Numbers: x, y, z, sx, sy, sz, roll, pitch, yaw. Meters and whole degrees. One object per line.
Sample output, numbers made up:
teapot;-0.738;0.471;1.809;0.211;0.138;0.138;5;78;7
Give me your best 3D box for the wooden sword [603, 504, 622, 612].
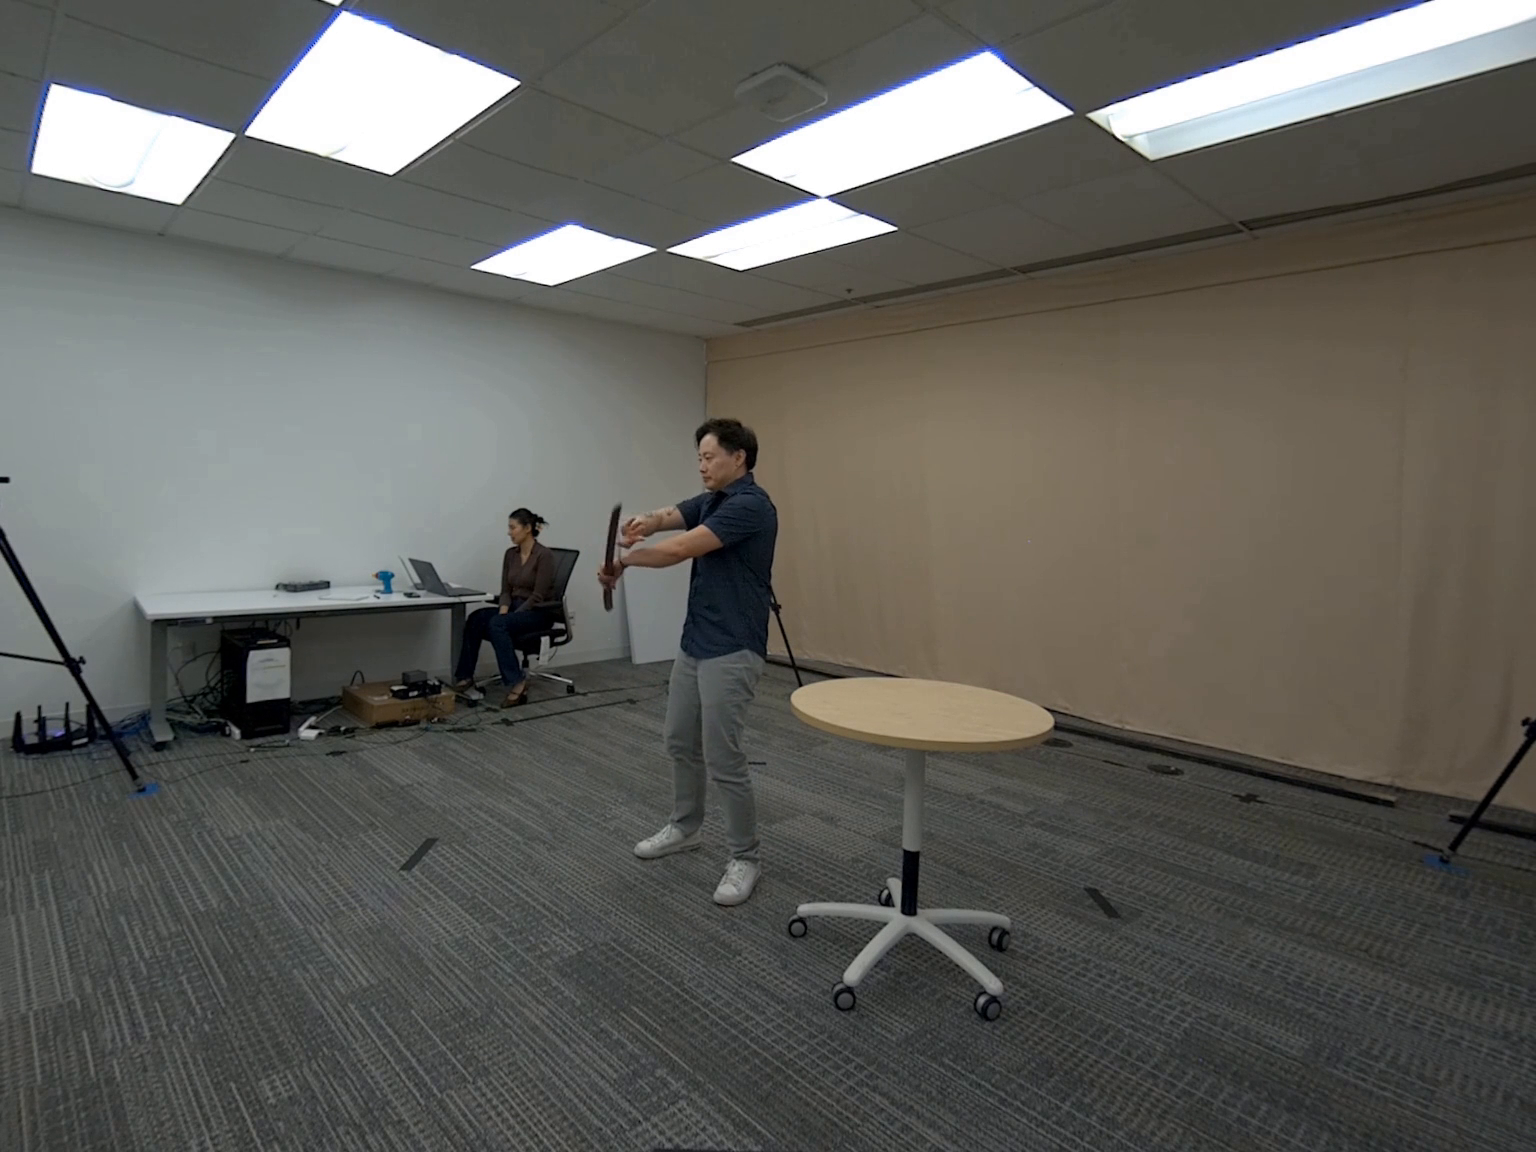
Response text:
wooden sword;-0.552;-0.016;2.941;0.051;0.024;1.012;-24;-17;-15
